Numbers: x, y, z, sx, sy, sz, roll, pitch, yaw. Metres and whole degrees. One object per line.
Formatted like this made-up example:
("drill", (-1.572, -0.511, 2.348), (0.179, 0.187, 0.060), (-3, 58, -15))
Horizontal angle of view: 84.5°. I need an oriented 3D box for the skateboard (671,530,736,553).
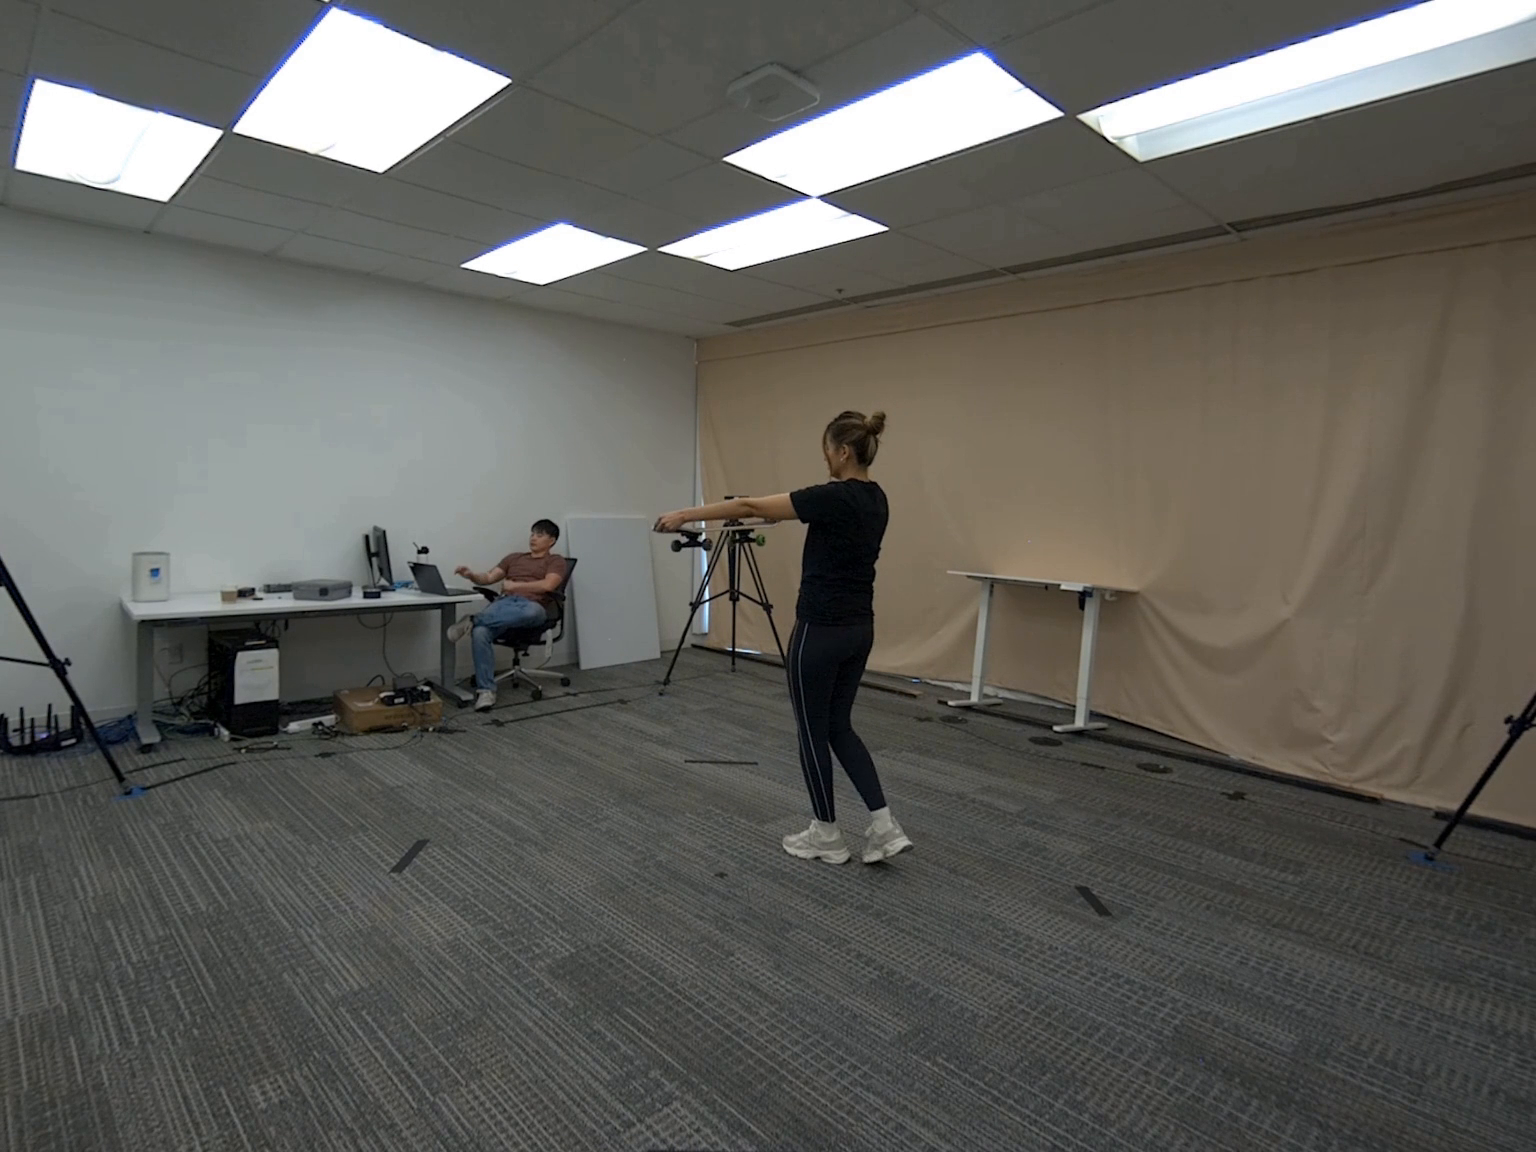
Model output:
("skateboard", (-0.202, -0.170, 3.513), (0.197, 0.110, 0.770), (-2, 3, 33))
